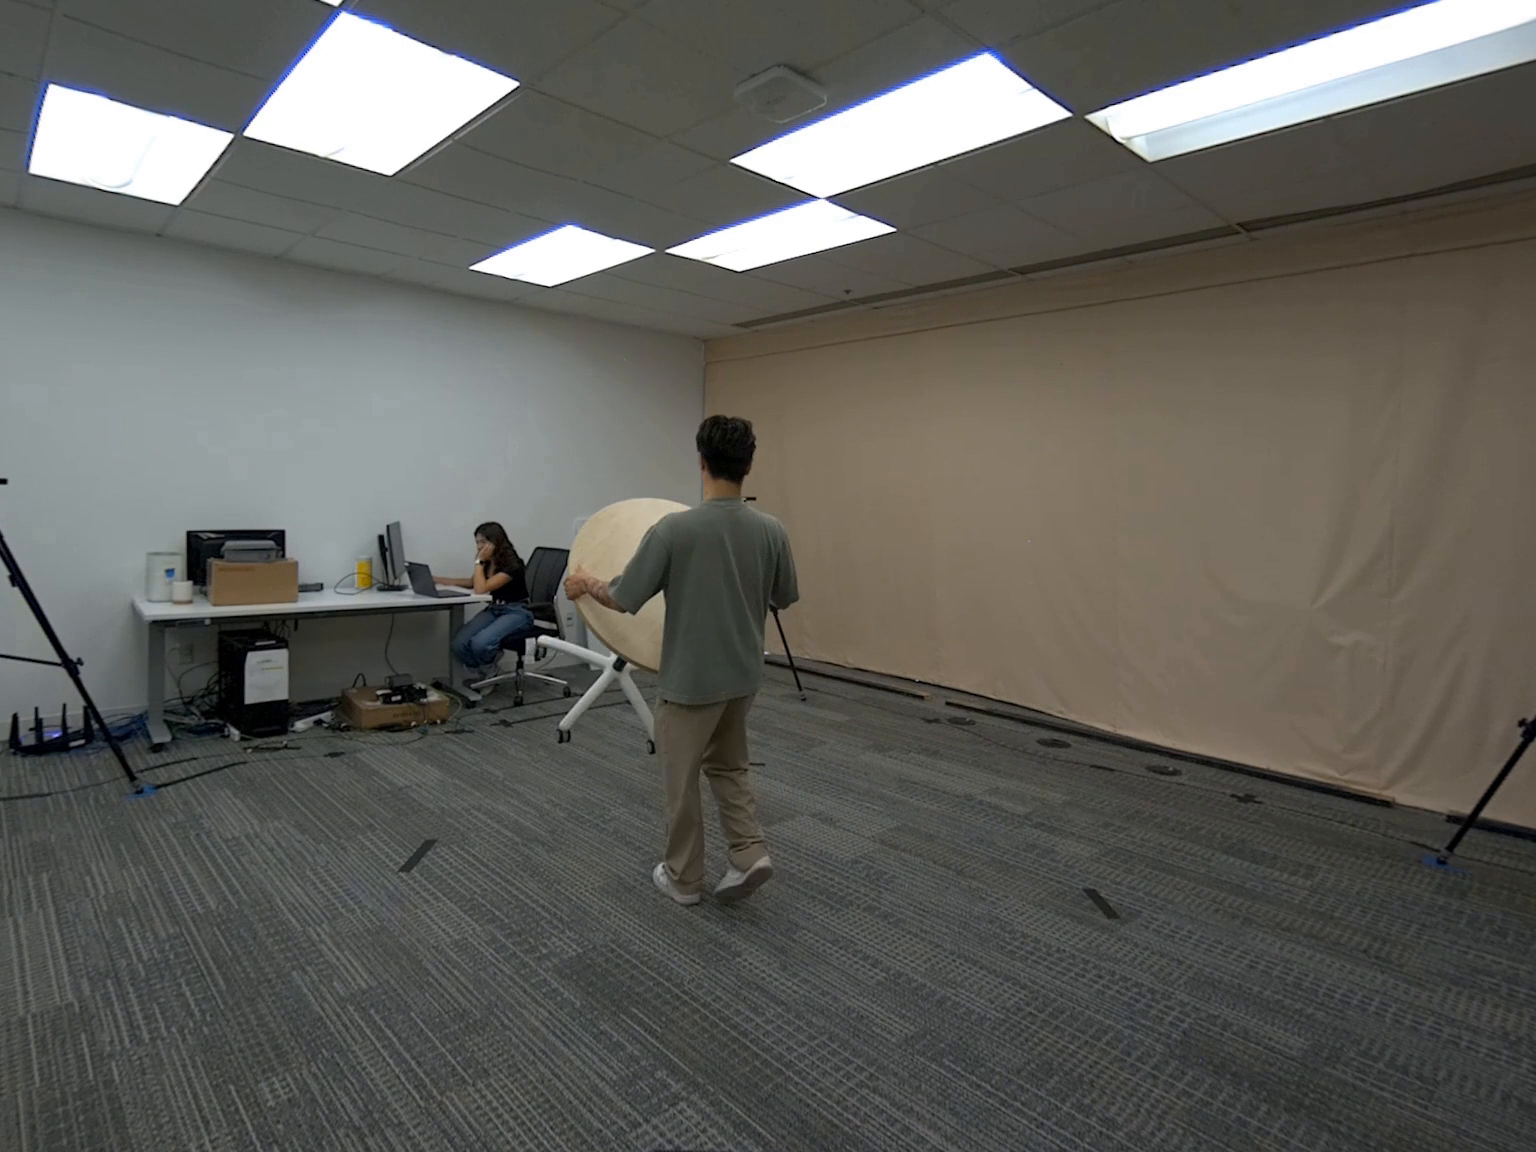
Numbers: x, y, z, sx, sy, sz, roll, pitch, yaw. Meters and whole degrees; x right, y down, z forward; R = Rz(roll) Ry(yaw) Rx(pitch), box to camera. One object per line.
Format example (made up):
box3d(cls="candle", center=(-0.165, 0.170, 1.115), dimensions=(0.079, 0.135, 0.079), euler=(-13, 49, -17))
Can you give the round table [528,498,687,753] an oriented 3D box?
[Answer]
box3d(cls="round table", center=(-0.513, 0.246, 3.363), dimensions=(0.769, 0.804, 0.783), euler=(-1, -34, -30))
